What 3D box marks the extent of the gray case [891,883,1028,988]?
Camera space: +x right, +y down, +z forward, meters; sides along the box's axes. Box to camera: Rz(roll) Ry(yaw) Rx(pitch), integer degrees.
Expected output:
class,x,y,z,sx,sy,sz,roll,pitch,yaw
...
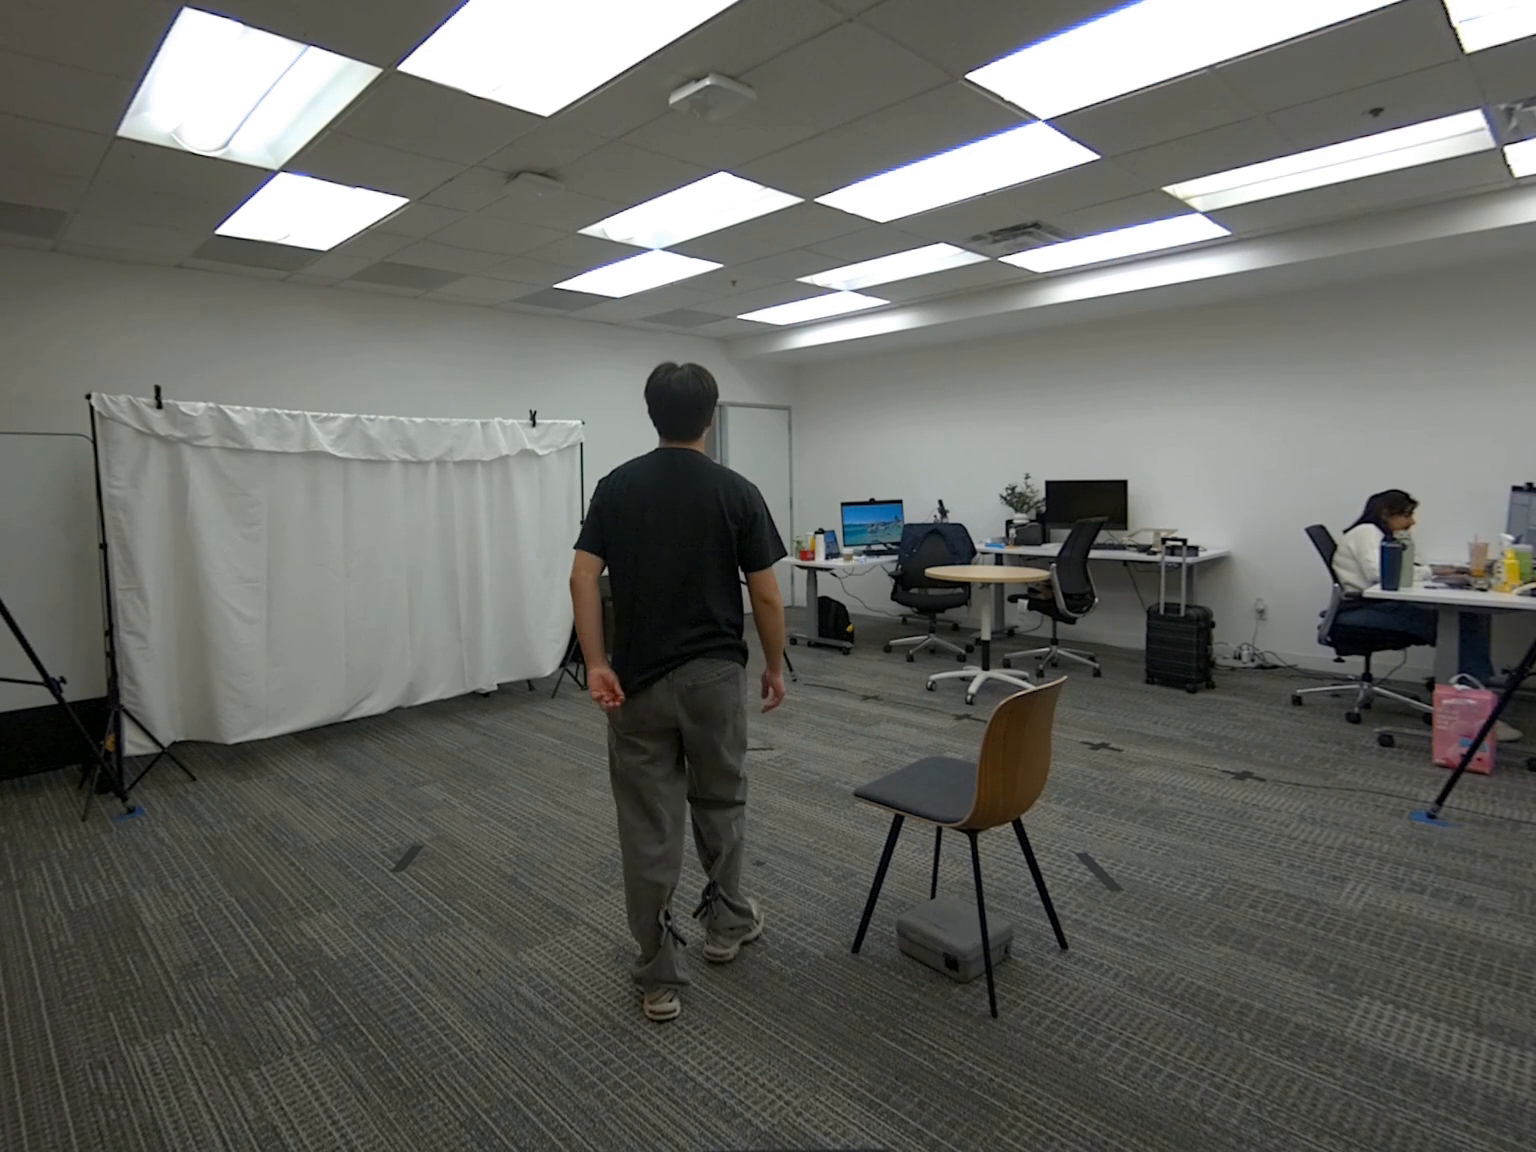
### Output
class,x,y,z,sx,sy,sz,roll,pitch,yaw
gray case,0.558,1.042,2.512,0.280,0.102,0.271,-5,8,-37
